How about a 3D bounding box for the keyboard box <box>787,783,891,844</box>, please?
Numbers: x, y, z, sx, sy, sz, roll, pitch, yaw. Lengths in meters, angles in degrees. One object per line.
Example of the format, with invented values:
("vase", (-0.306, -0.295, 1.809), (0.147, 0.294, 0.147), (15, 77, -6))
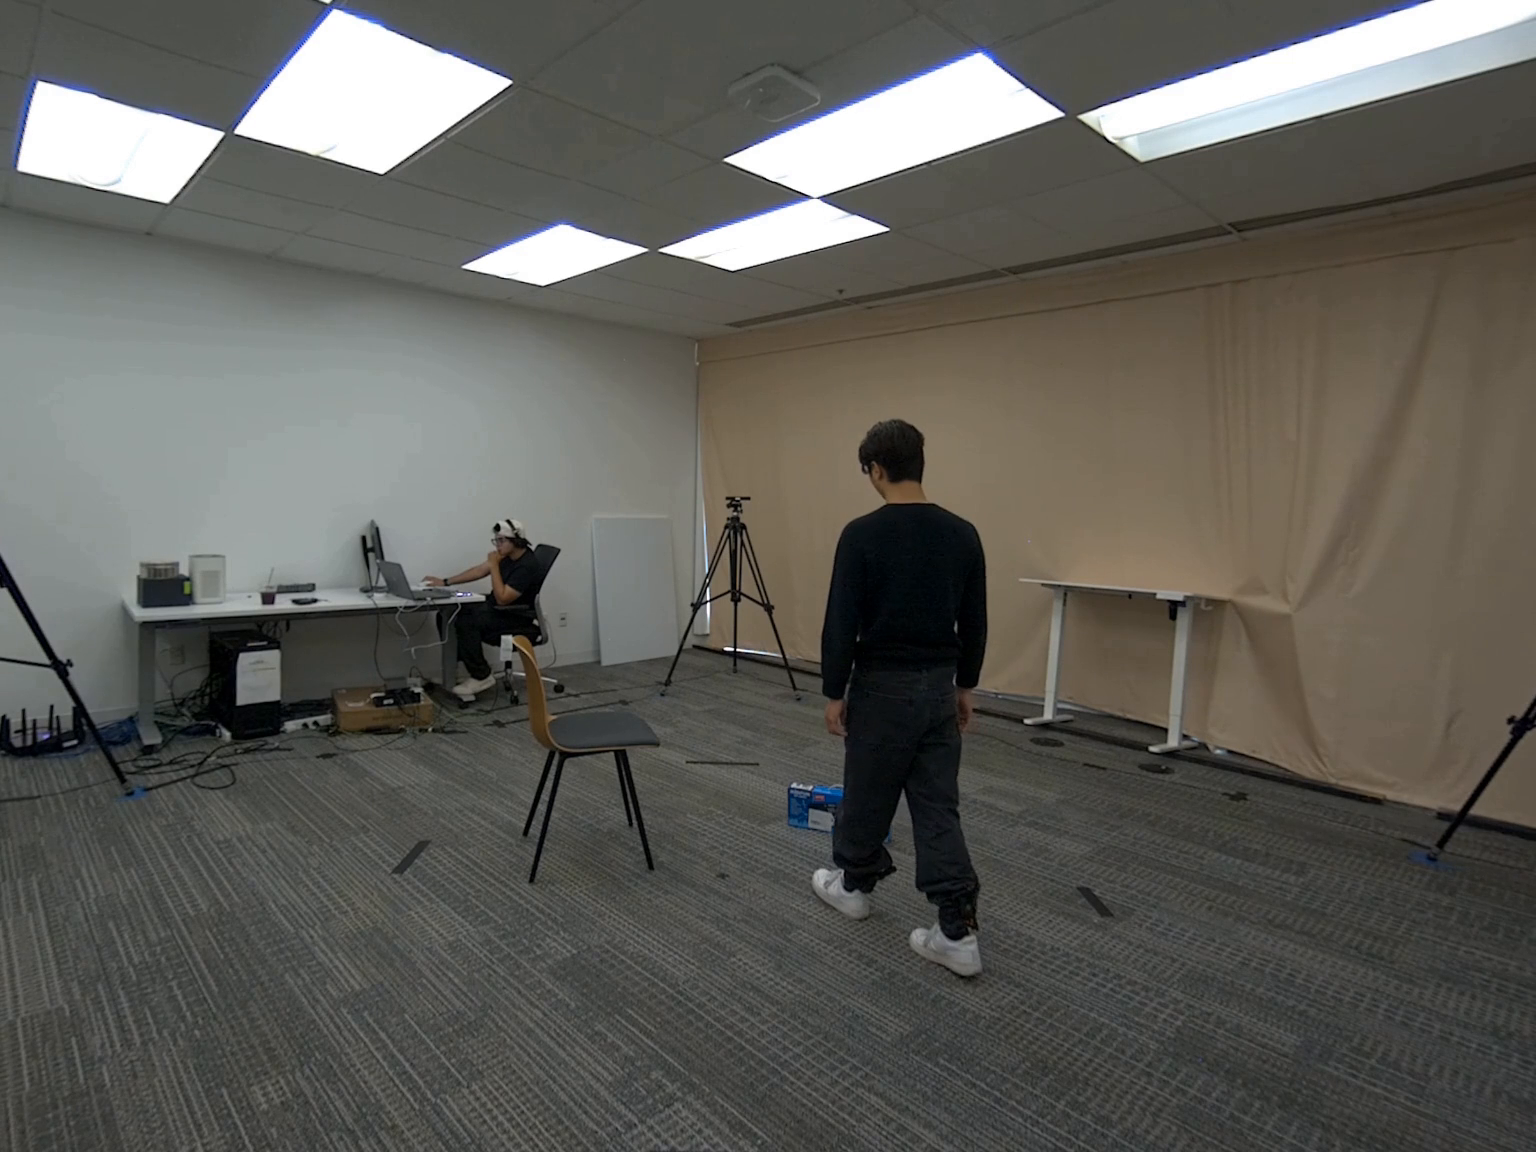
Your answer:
("keyboard box", (0.292, 0.991, 3.541), (0.444, 0.175, 0.058), (3, 8, 21))
